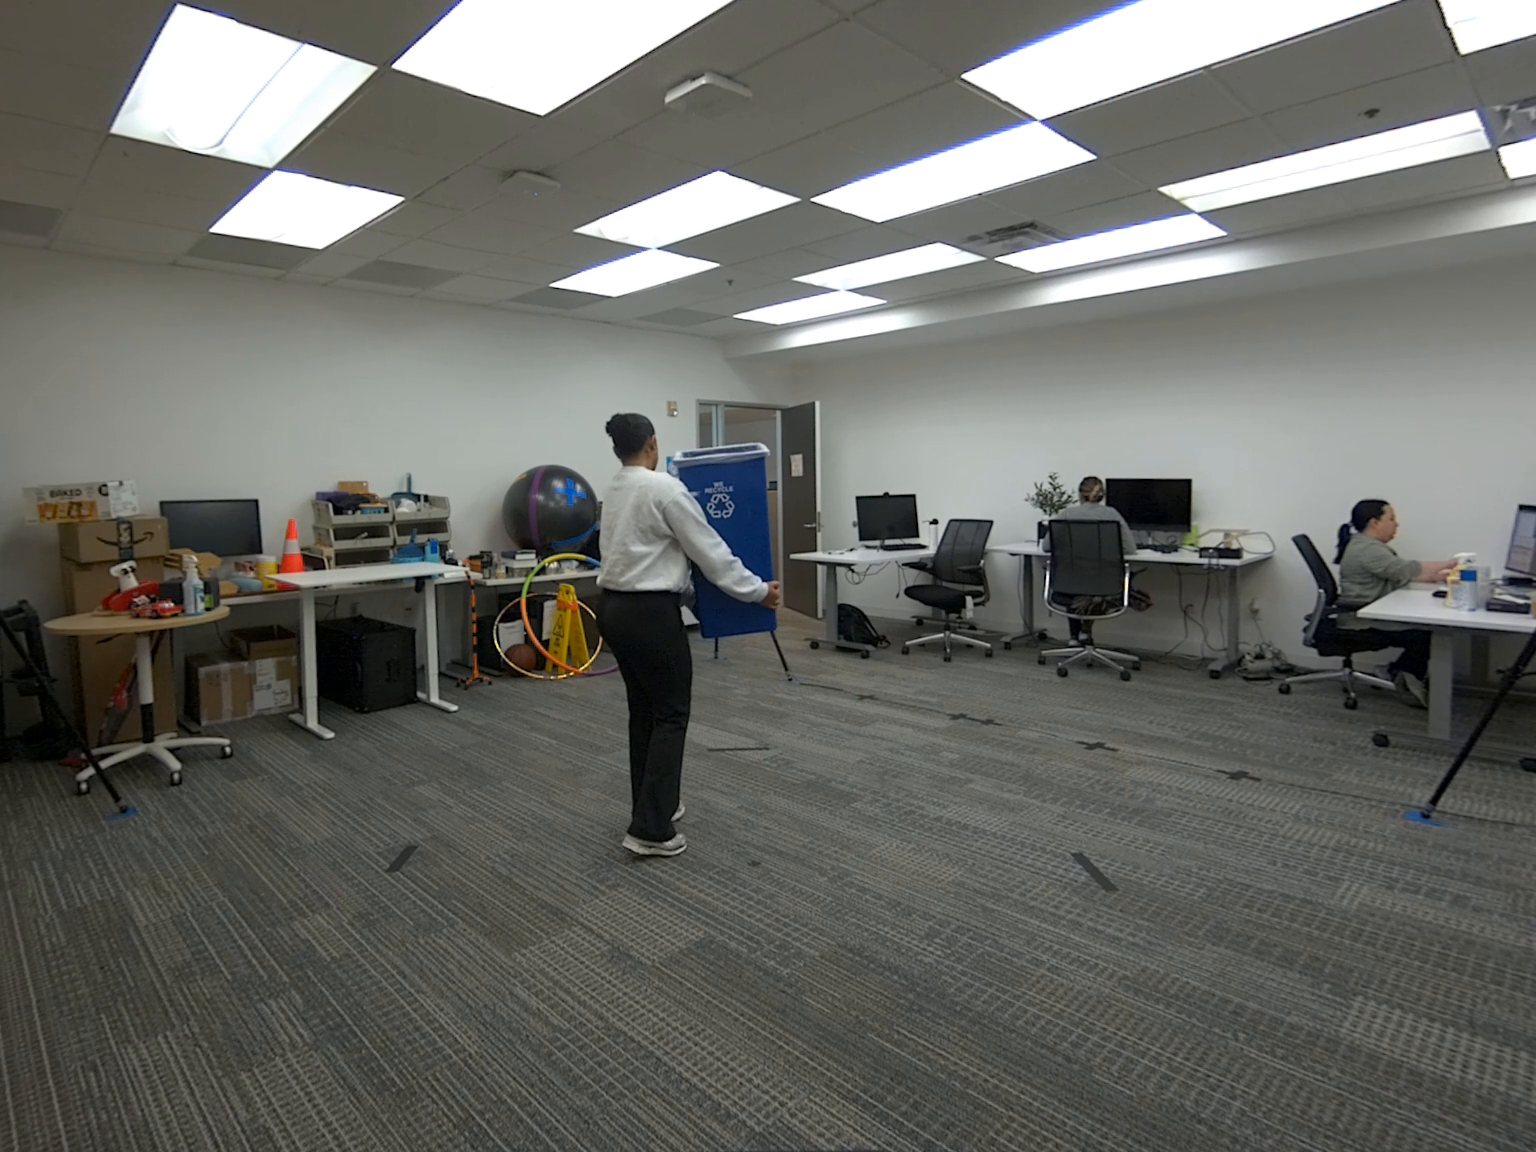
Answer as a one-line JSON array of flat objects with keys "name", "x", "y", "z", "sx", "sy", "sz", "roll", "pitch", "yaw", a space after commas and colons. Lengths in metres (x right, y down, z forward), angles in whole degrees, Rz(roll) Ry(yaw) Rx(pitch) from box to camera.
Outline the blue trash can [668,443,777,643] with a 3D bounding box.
[{"name": "blue trash can", "x": -0.159, "y": -0.148, "z": 3.426, "sx": 0.377, "sy": 0.706, "sz": 0.379, "roll": -6, "pitch": 11, "yaw": -4}]
